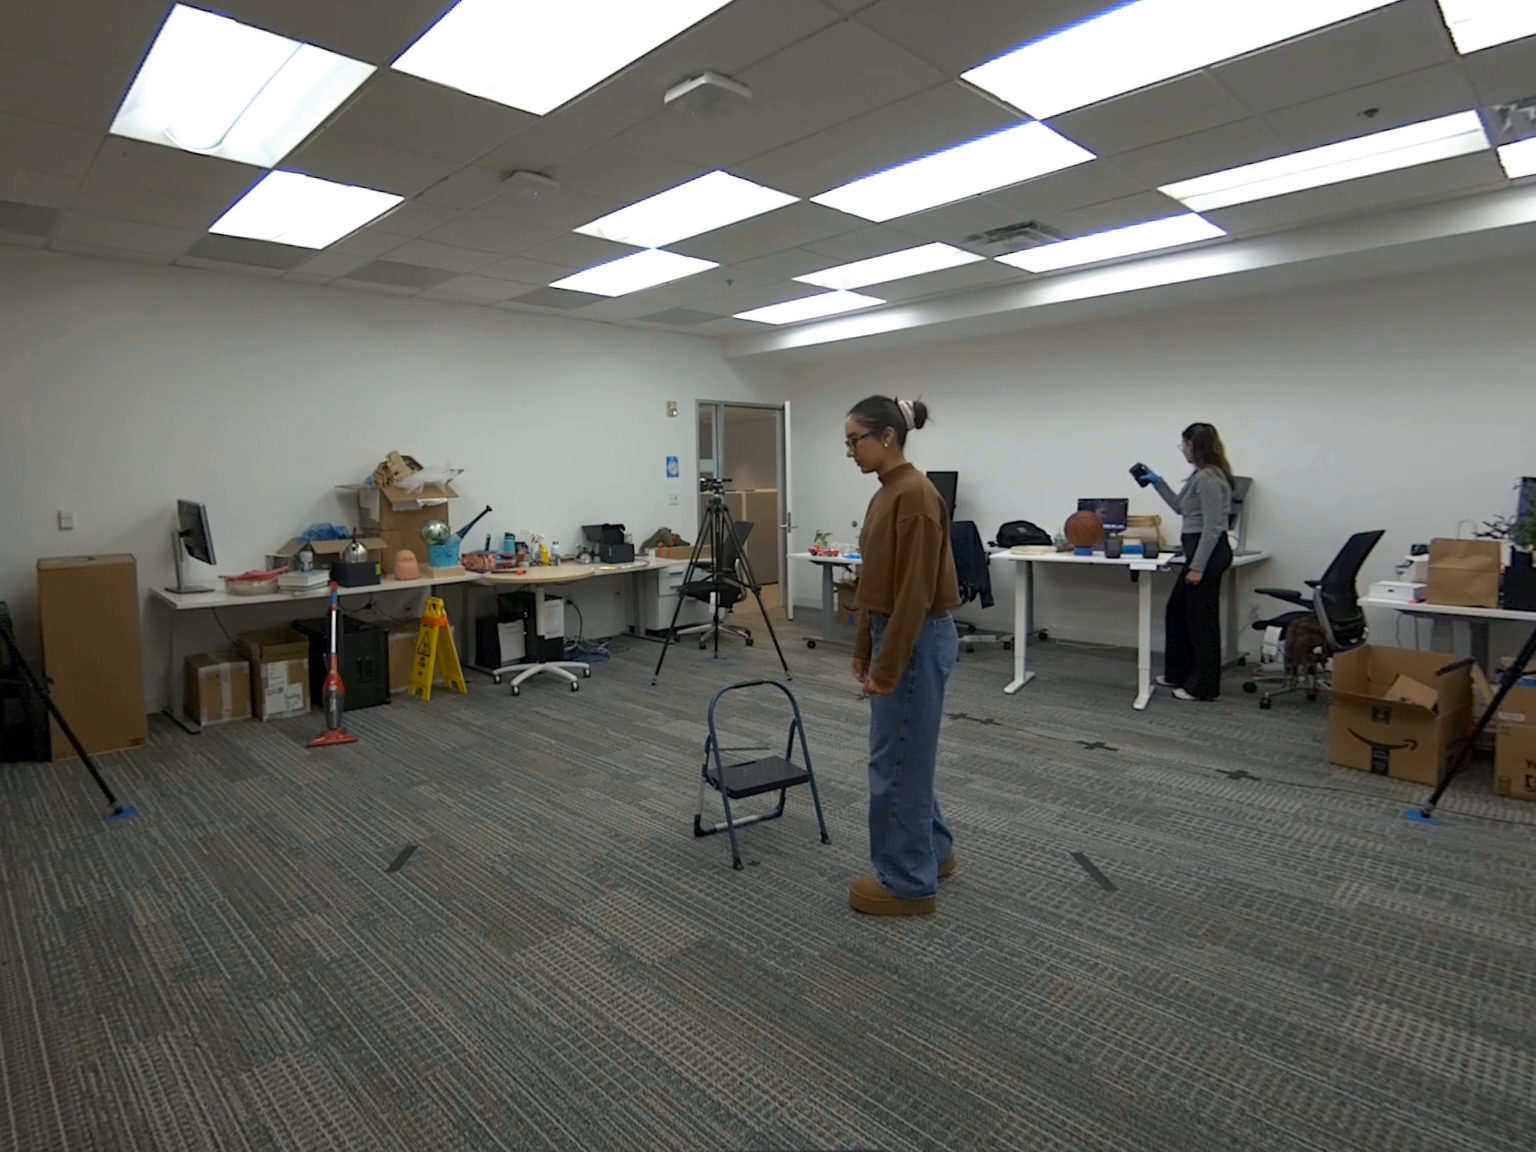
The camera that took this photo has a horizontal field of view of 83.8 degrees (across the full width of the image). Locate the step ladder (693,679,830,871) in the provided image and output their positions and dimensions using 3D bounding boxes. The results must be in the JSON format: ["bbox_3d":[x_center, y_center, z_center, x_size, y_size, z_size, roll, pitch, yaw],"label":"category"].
[{"bbox_3d":[-0.031,0.717,3.292,0.420,0.604,0.359,-4,5,-33],"label":"step ladder"}]
